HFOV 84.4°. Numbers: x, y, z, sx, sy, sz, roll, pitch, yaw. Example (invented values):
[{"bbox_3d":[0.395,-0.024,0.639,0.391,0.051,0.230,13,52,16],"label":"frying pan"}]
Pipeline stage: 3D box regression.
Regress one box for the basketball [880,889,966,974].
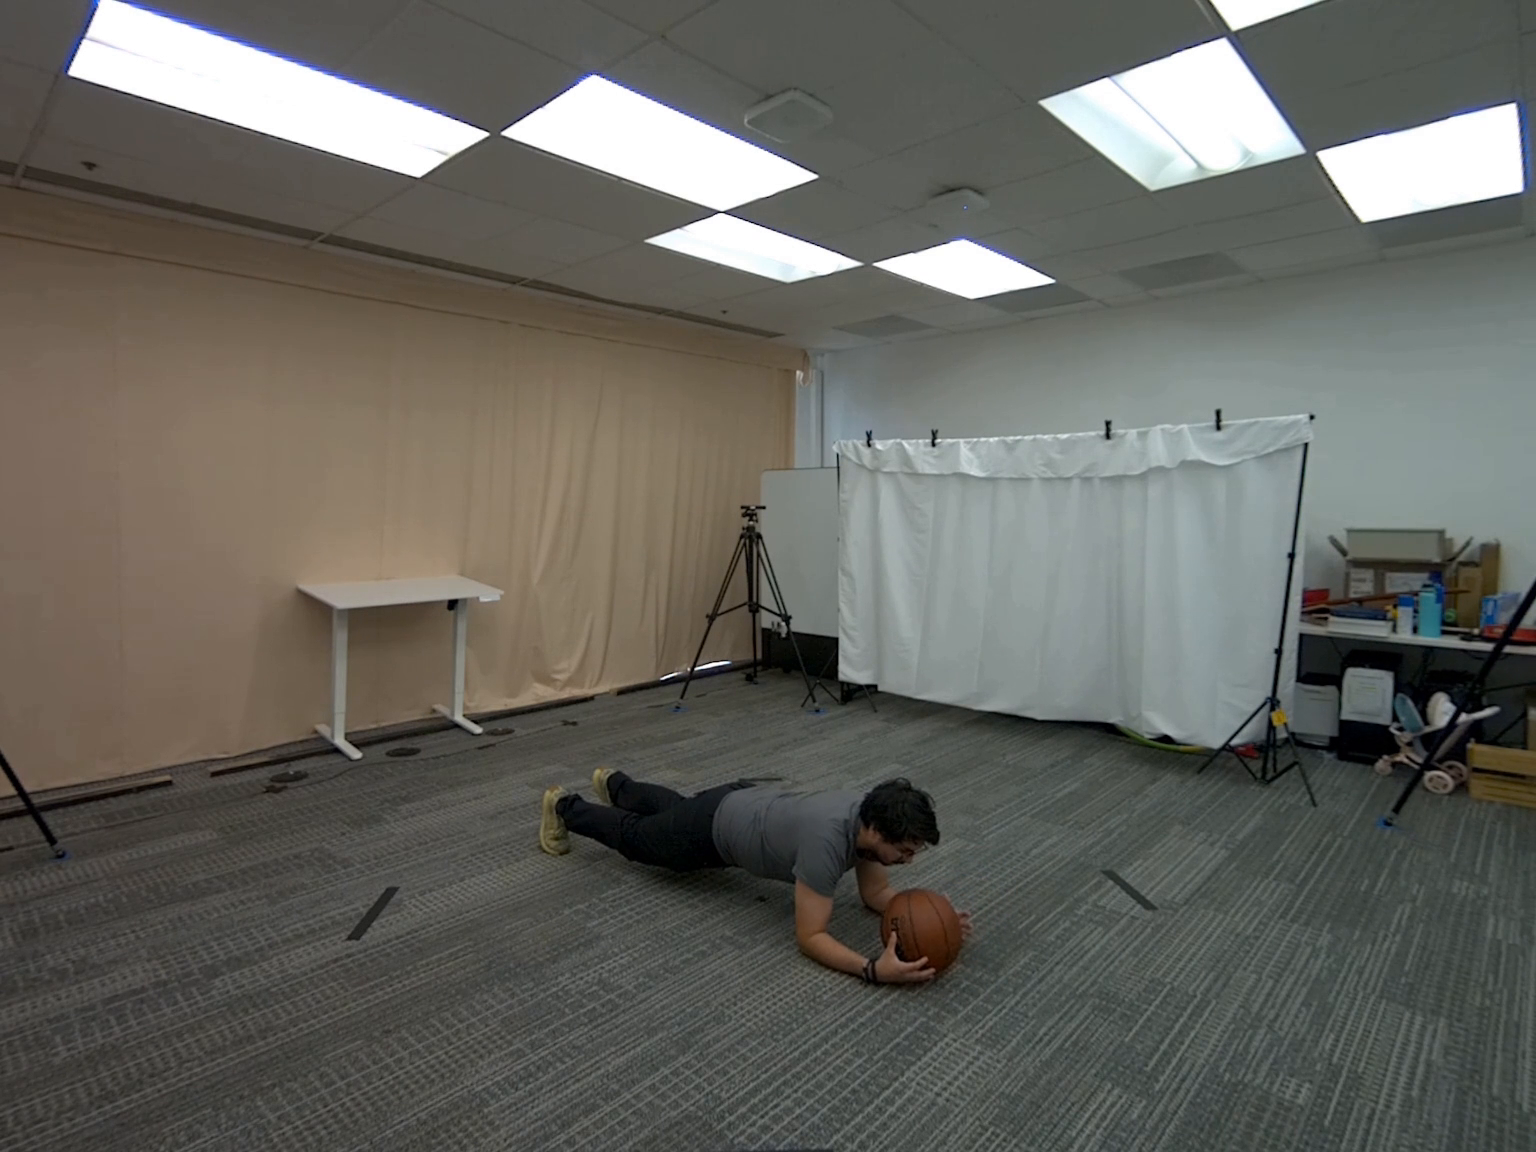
[{"bbox_3d":[0.461,1.061,2.521,0.236,0.235,0.237,0,4,-2],"label":"basketball"}]
